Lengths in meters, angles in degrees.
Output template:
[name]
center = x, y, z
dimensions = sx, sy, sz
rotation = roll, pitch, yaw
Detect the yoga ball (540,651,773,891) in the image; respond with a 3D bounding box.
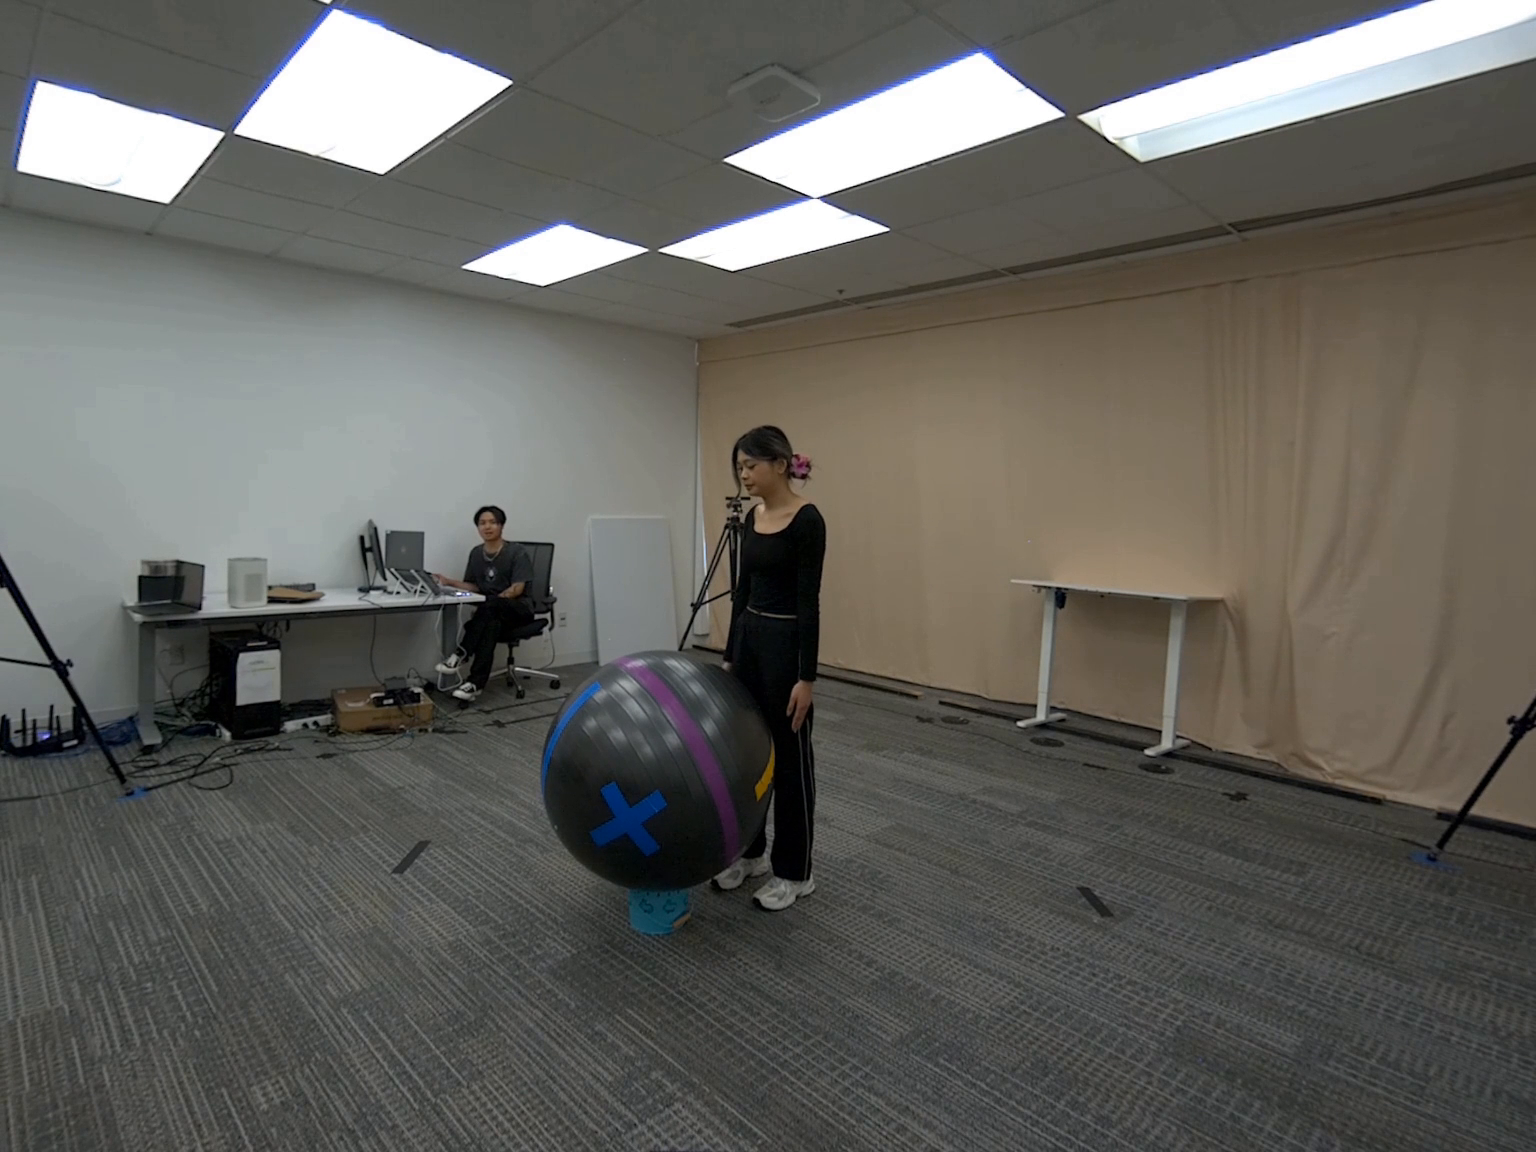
[yoga ball]
center = -0.351, 0.632, 2.737
dimensions = 0.757, 0.756, 0.761
rotation = 1, 4, -1
